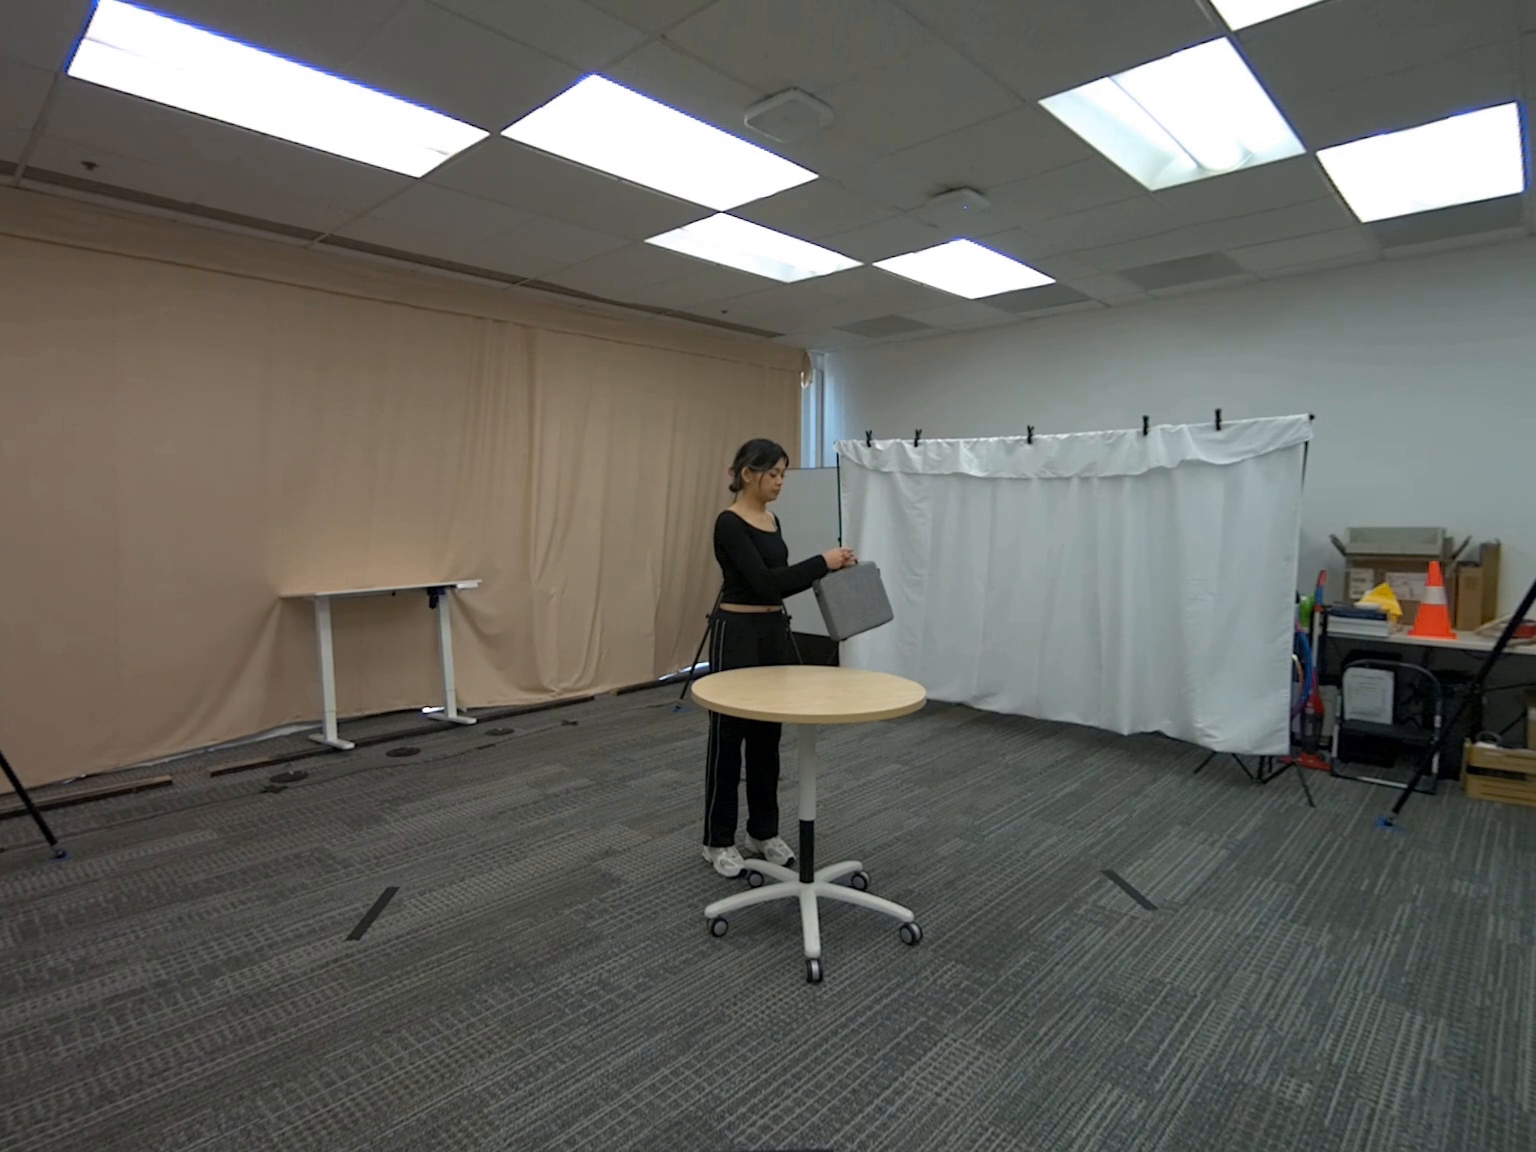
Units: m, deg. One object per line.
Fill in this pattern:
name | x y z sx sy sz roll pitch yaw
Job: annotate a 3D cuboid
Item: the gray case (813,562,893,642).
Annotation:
gray case | 0.331 0.090 3.210 0.254 0.261 0.105 -20 -2 -14
